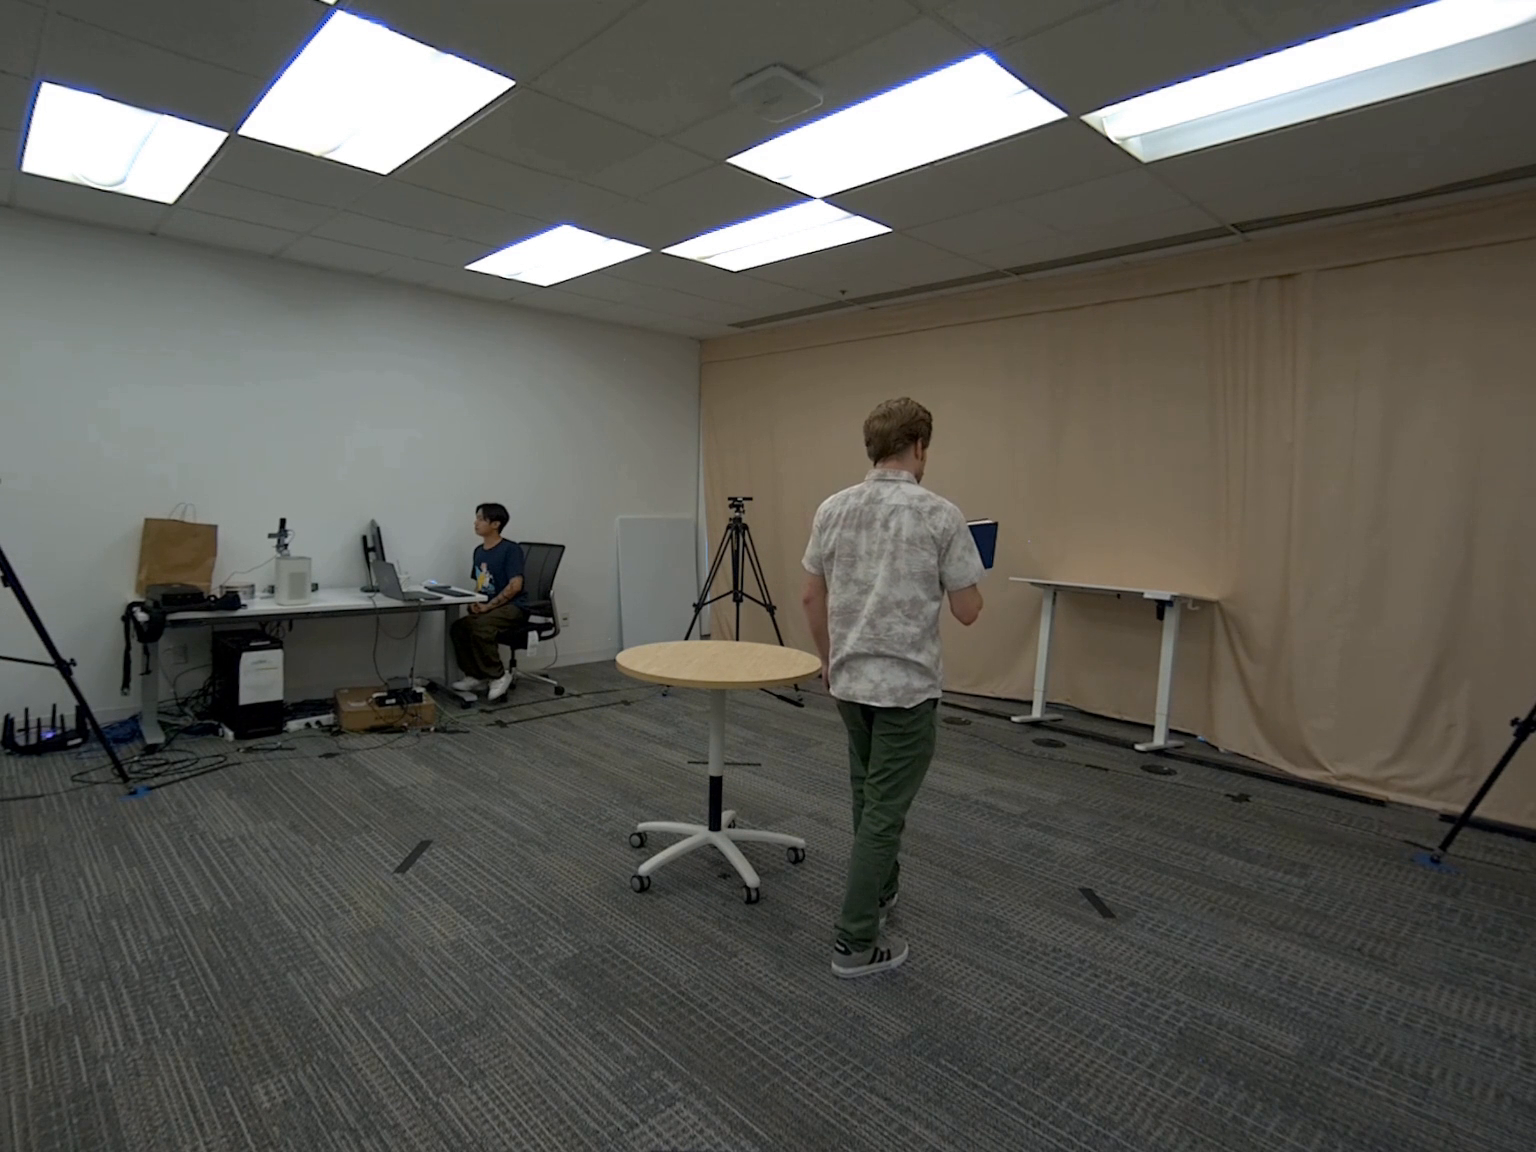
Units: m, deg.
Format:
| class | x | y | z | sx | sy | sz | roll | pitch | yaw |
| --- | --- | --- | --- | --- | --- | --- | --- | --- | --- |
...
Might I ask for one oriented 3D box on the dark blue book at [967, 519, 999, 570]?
| class | x | y | z | sx | sy | sz | roll | pitch | yaw |
| --- | --- | --- | --- | --- | --- | --- | --- | --- | --- |
| dark blue book | 0.658 | -0.099 | 2.777 | 0.240 | 0.162 | 0.046 | -8 | 14 | -38 |
